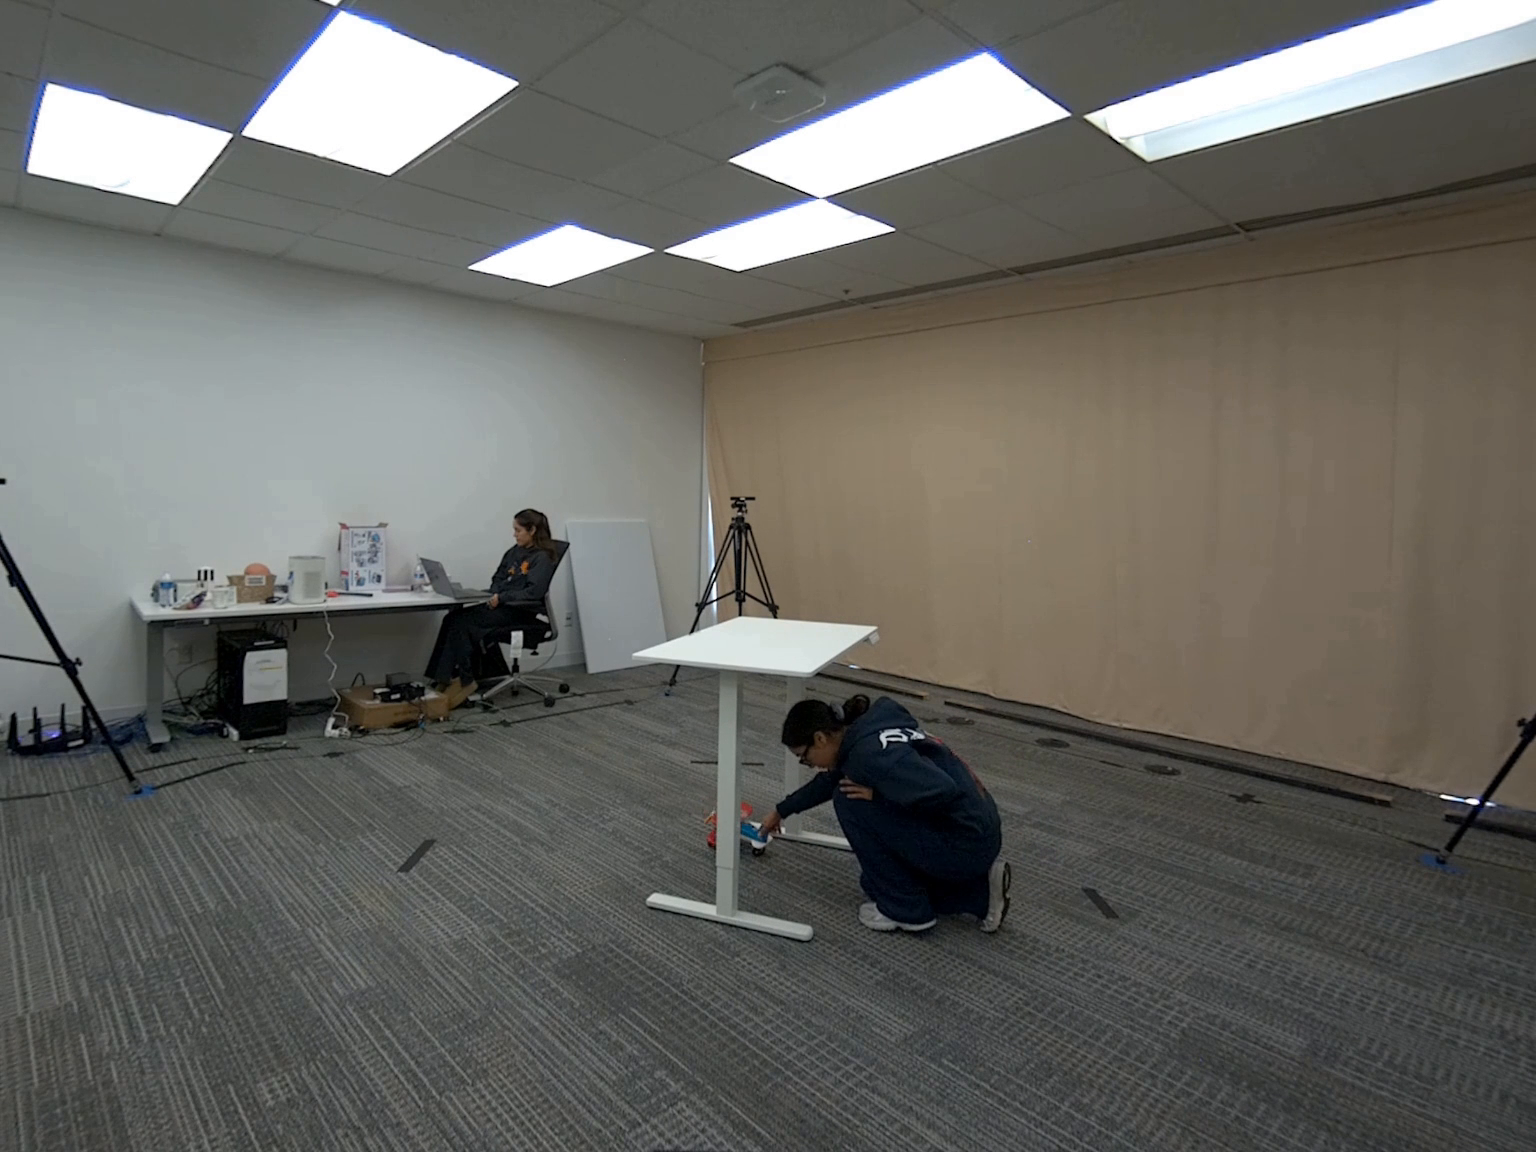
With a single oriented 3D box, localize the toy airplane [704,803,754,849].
[{"bbox_3d":[-0.115,1.017,3.364,0.259,0.156,0.252,0,5,-1],"label":"toy airplane"}]
